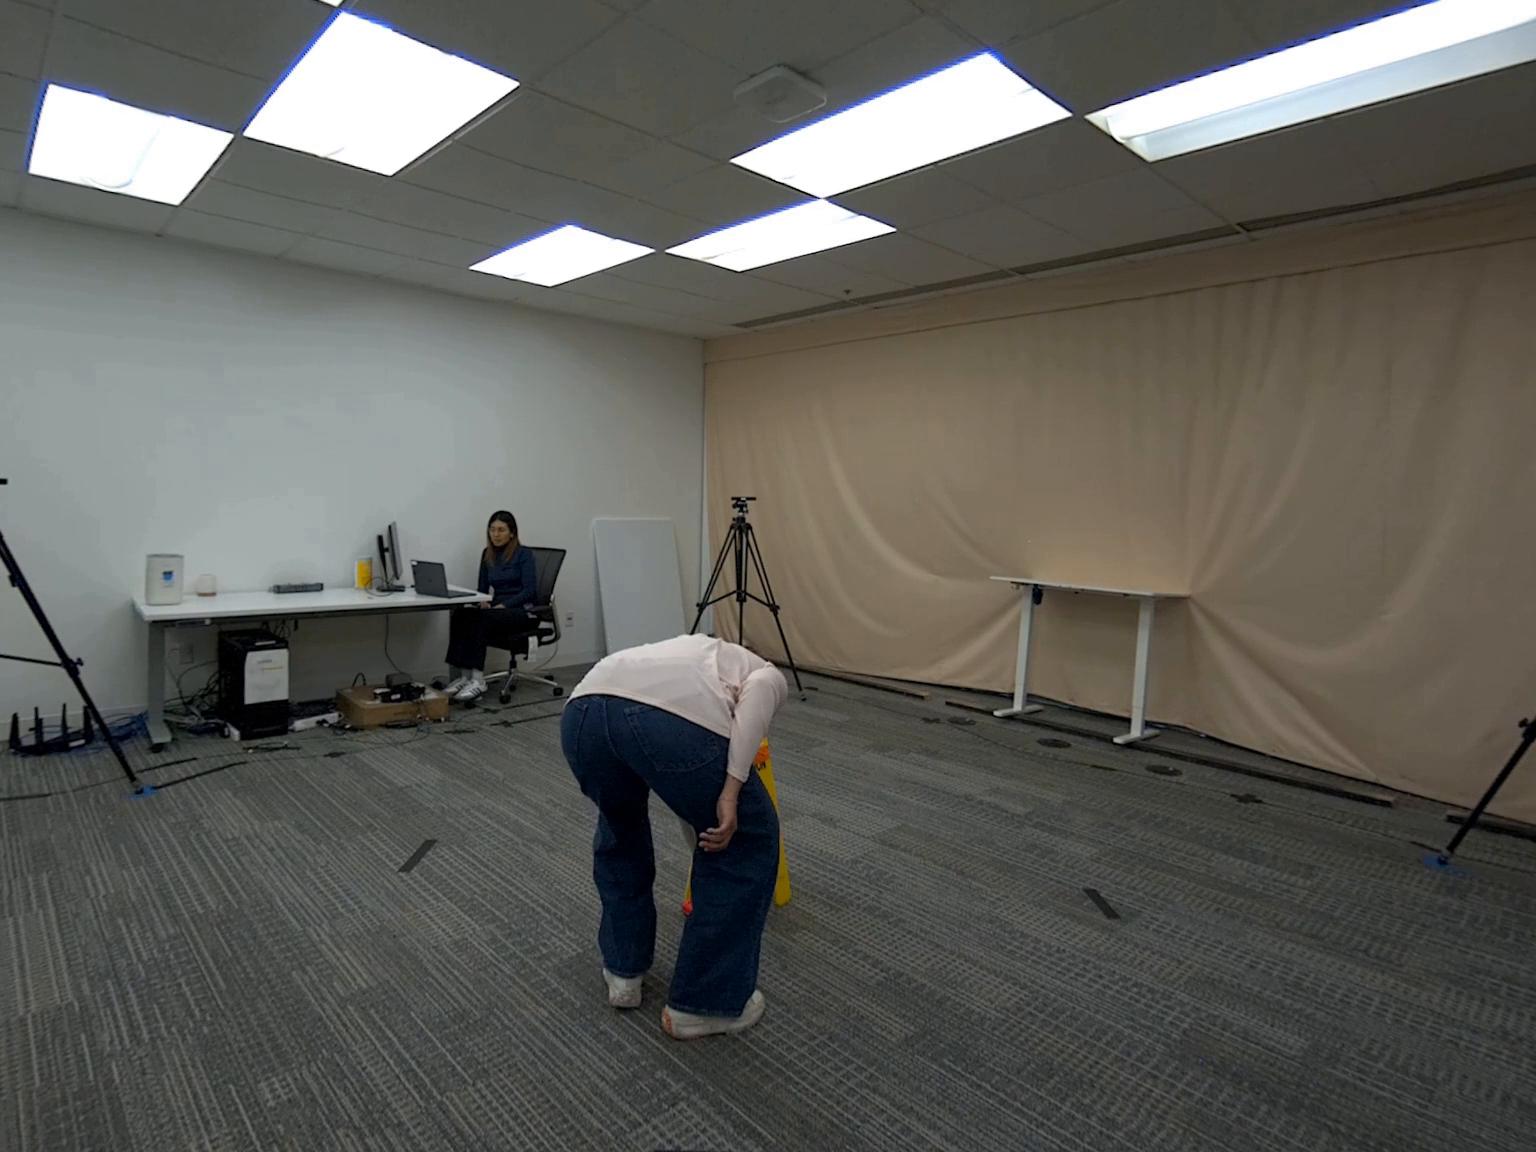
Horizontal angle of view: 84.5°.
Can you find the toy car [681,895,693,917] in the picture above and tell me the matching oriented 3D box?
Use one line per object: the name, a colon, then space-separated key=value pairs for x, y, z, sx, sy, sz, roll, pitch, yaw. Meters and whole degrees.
toy car: x=-0.170 y=1.096 z=2.842 sx=0.250 sy=0.082 sz=0.133 roll=-18 pitch=15 yaw=-42
